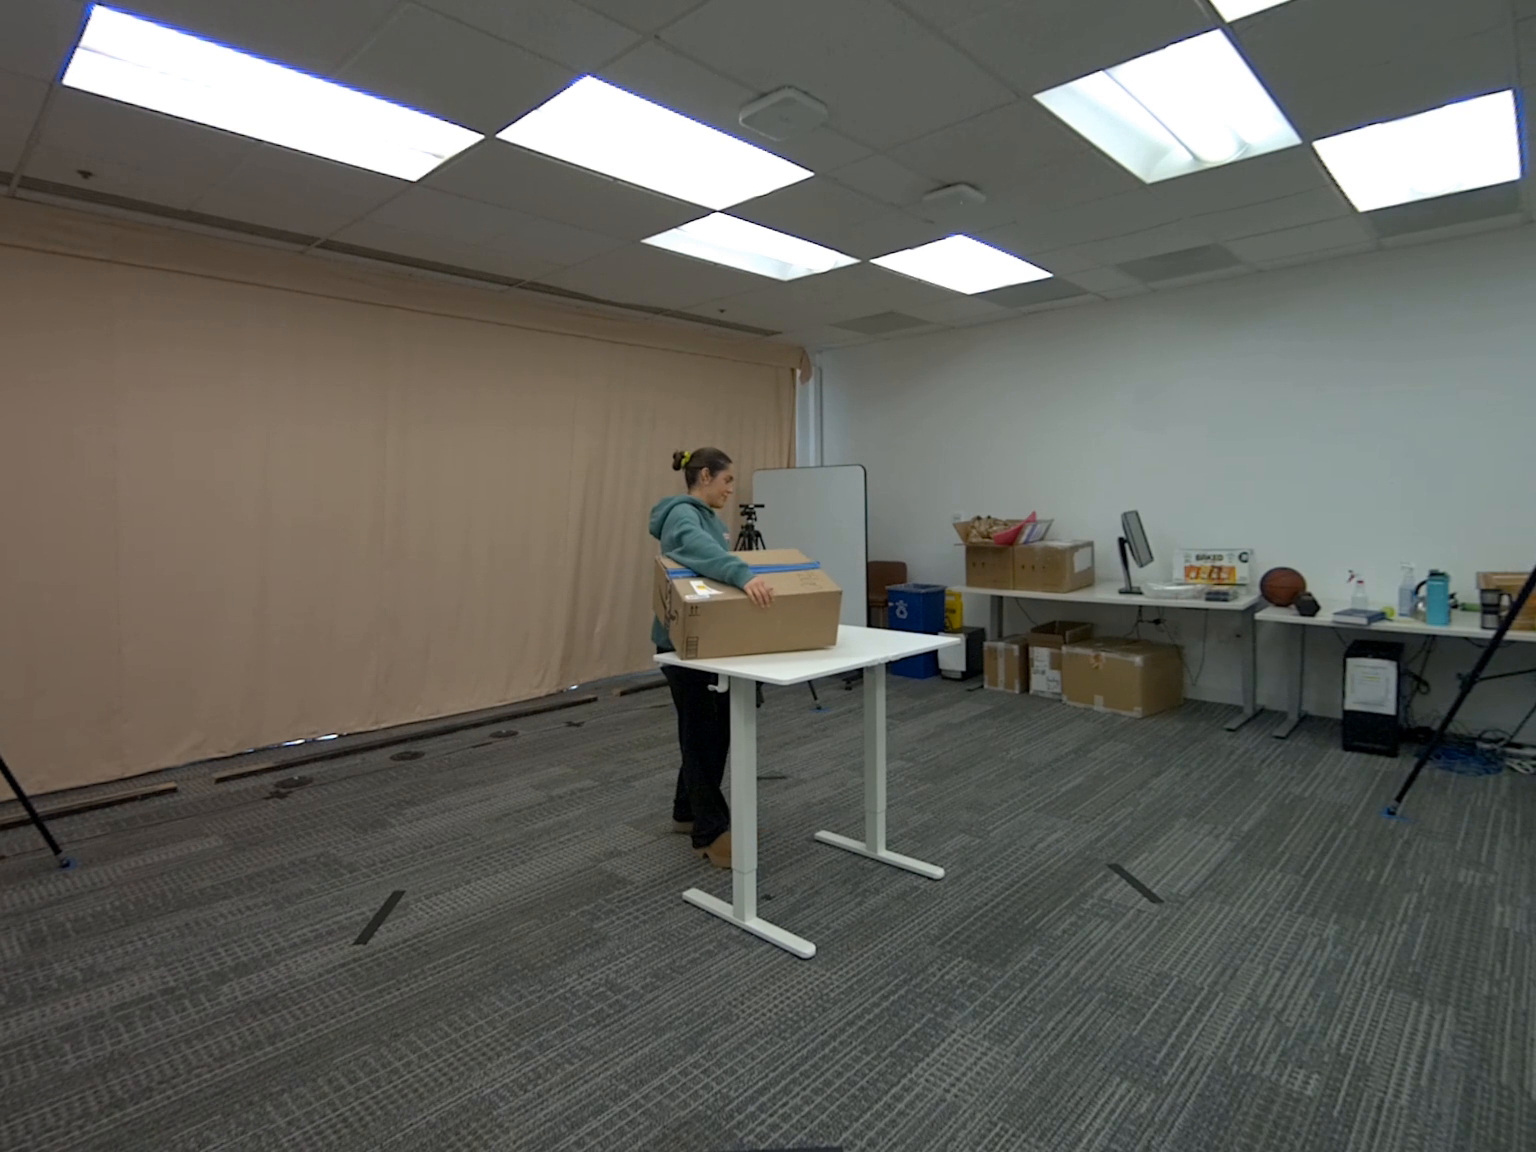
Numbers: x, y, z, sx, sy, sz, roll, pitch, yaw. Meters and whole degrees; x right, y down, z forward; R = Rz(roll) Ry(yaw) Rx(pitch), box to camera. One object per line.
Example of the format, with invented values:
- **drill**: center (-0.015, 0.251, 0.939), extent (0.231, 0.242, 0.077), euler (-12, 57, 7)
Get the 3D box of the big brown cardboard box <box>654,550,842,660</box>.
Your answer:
- **big brown cardboard box**: center (-0.086, 0.082, 3.008), extent (0.578, 0.230, 0.430), euler (-4, 23, -18)
